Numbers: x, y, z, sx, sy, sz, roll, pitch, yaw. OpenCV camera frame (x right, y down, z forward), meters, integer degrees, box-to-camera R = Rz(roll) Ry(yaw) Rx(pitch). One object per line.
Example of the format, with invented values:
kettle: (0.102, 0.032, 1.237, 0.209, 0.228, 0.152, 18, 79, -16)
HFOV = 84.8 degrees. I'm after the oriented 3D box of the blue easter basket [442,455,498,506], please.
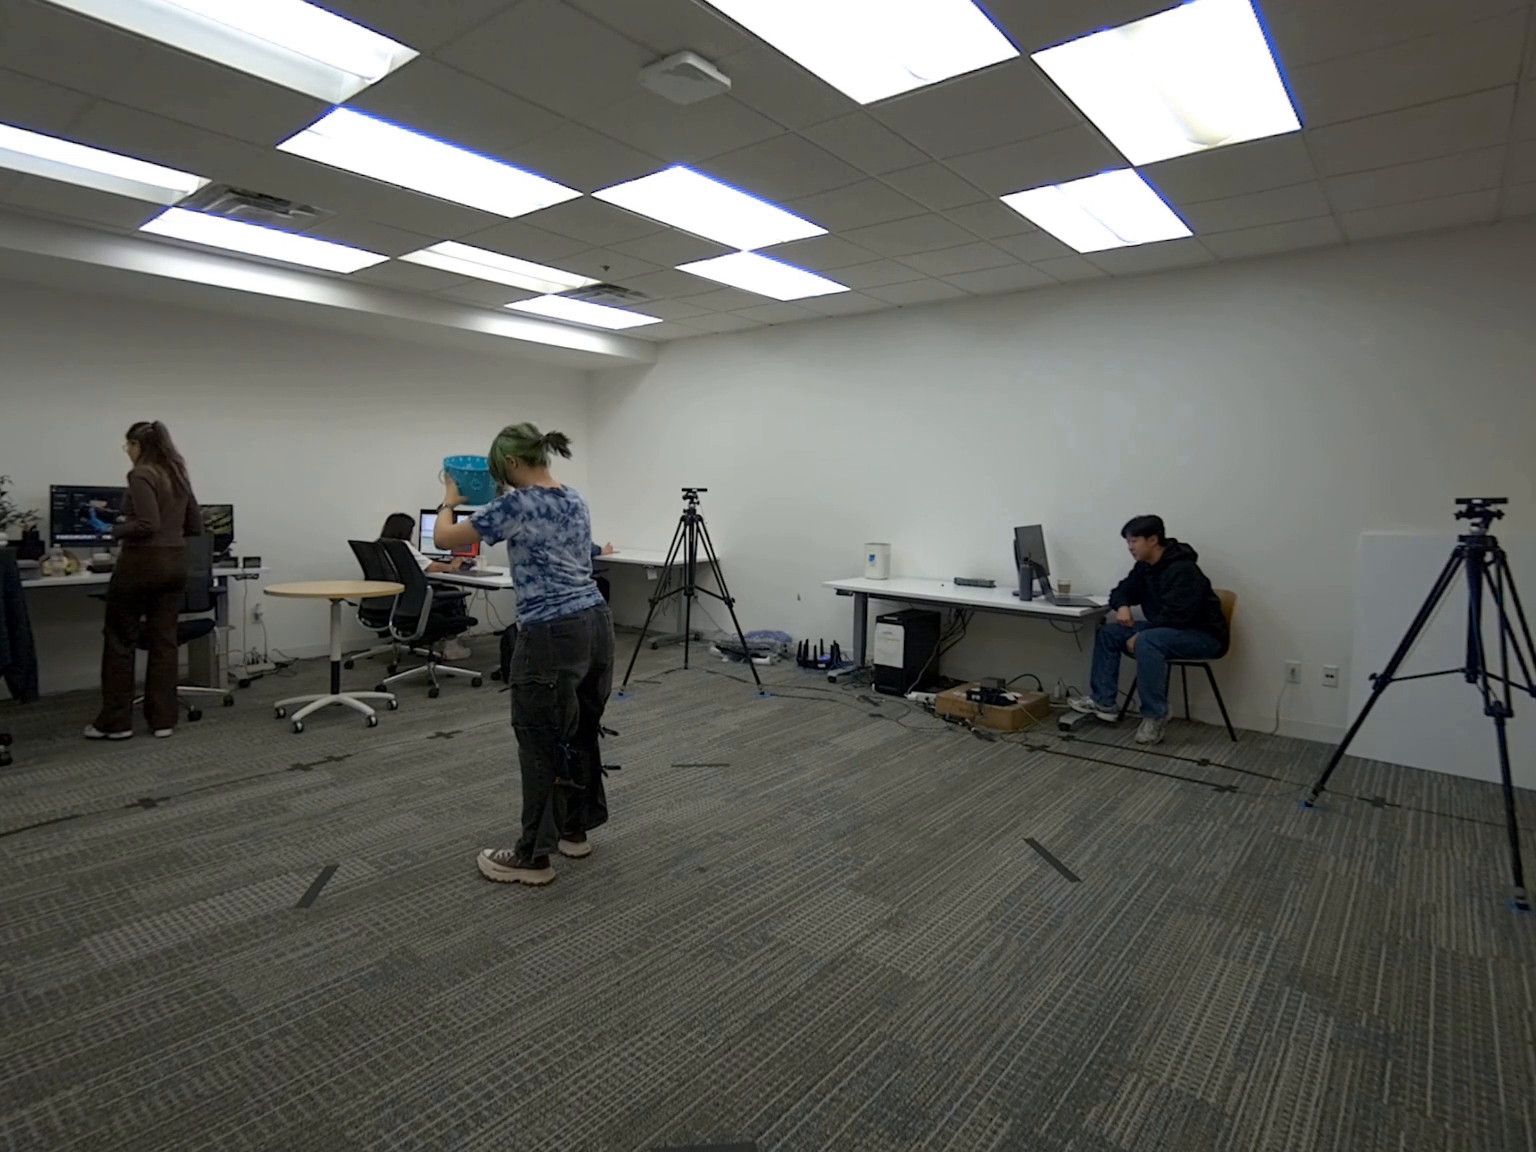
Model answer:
blue easter basket: (-1.179, -0.374, 3.344, 0.243, 0.153, 0.248, 5, 20, -4)
